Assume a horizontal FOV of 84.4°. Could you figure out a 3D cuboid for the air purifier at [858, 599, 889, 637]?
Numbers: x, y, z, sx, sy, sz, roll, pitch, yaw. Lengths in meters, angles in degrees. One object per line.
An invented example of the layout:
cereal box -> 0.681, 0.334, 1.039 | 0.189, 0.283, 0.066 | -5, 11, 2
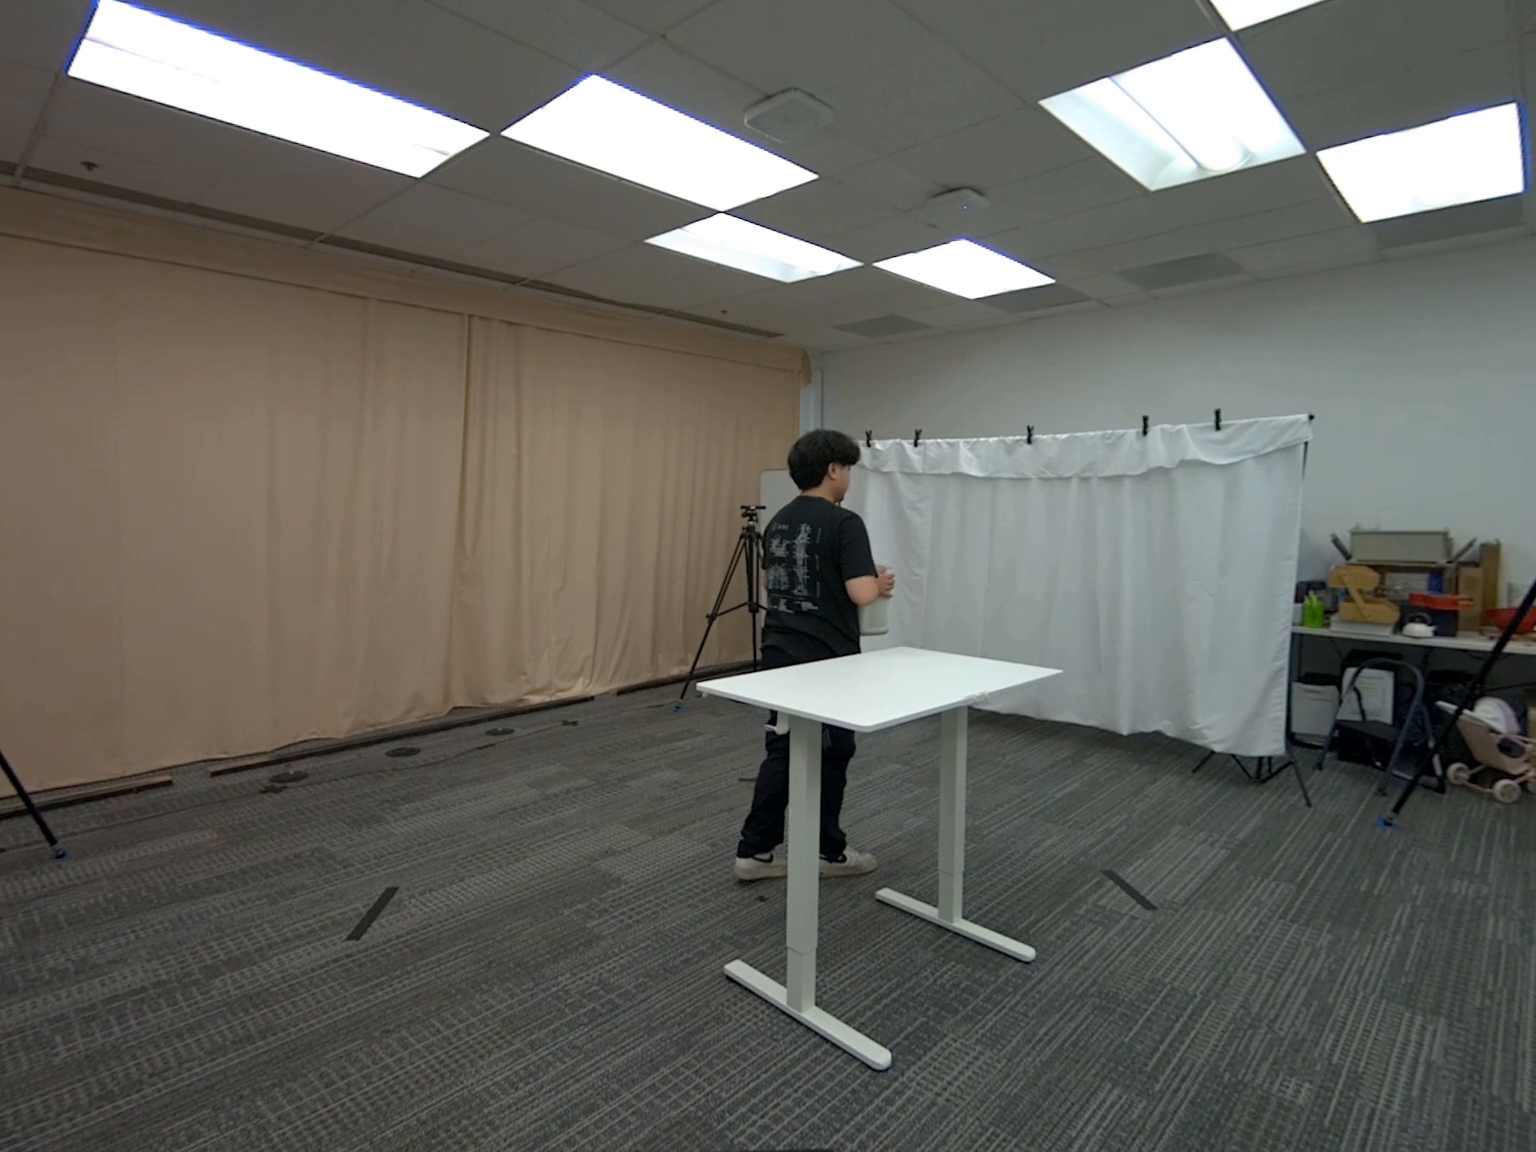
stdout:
air purifier -> 0.387, 0.093, 3.282 | 0.167, 0.264, 0.176 | -1, 5, -26
